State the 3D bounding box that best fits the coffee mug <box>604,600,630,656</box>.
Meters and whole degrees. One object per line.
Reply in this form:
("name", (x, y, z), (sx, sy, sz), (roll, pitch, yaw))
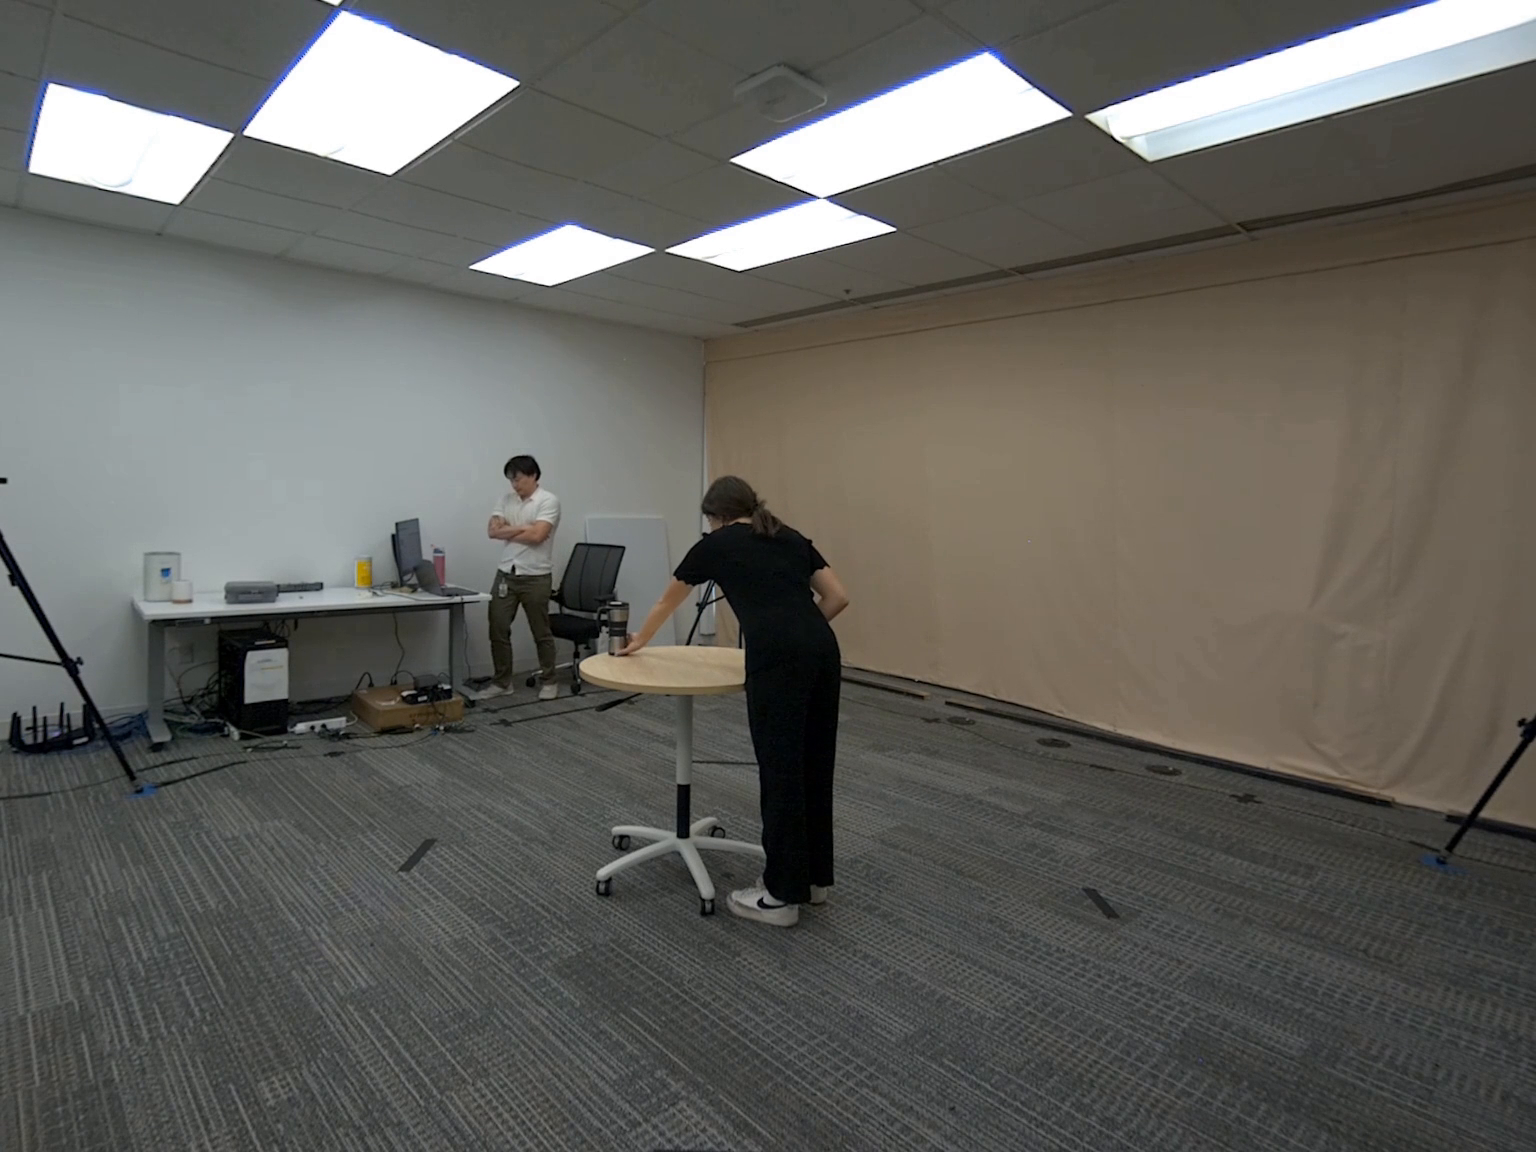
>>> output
("coffee mug", (-0.614, 0.202, 3.235), (0.123, 0.202, 0.087), (9, 6, 13))
